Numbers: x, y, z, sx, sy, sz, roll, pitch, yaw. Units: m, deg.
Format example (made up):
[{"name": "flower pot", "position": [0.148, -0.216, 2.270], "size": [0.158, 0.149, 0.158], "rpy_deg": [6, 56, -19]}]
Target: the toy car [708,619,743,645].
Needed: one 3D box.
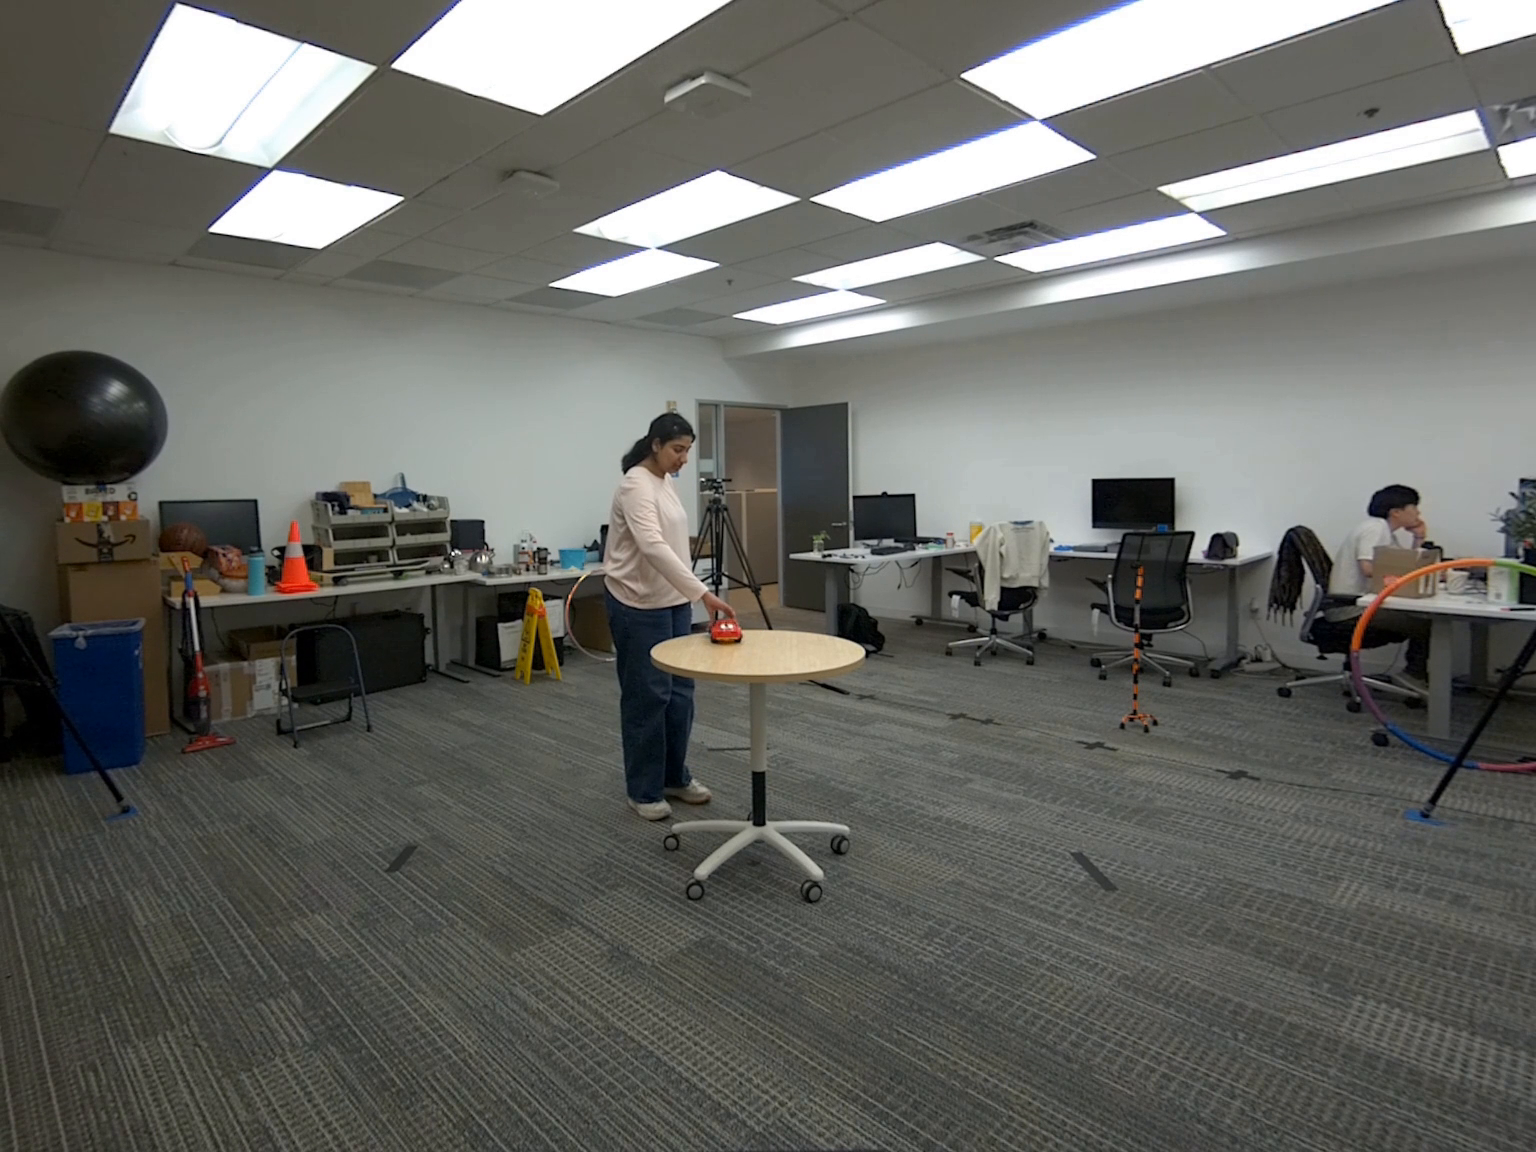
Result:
[{"name": "toy car", "position": [-0.158, 0.211, 3.244], "size": [0.130, 0.083, 0.254], "rpy_deg": [-2, -4, -5]}]
